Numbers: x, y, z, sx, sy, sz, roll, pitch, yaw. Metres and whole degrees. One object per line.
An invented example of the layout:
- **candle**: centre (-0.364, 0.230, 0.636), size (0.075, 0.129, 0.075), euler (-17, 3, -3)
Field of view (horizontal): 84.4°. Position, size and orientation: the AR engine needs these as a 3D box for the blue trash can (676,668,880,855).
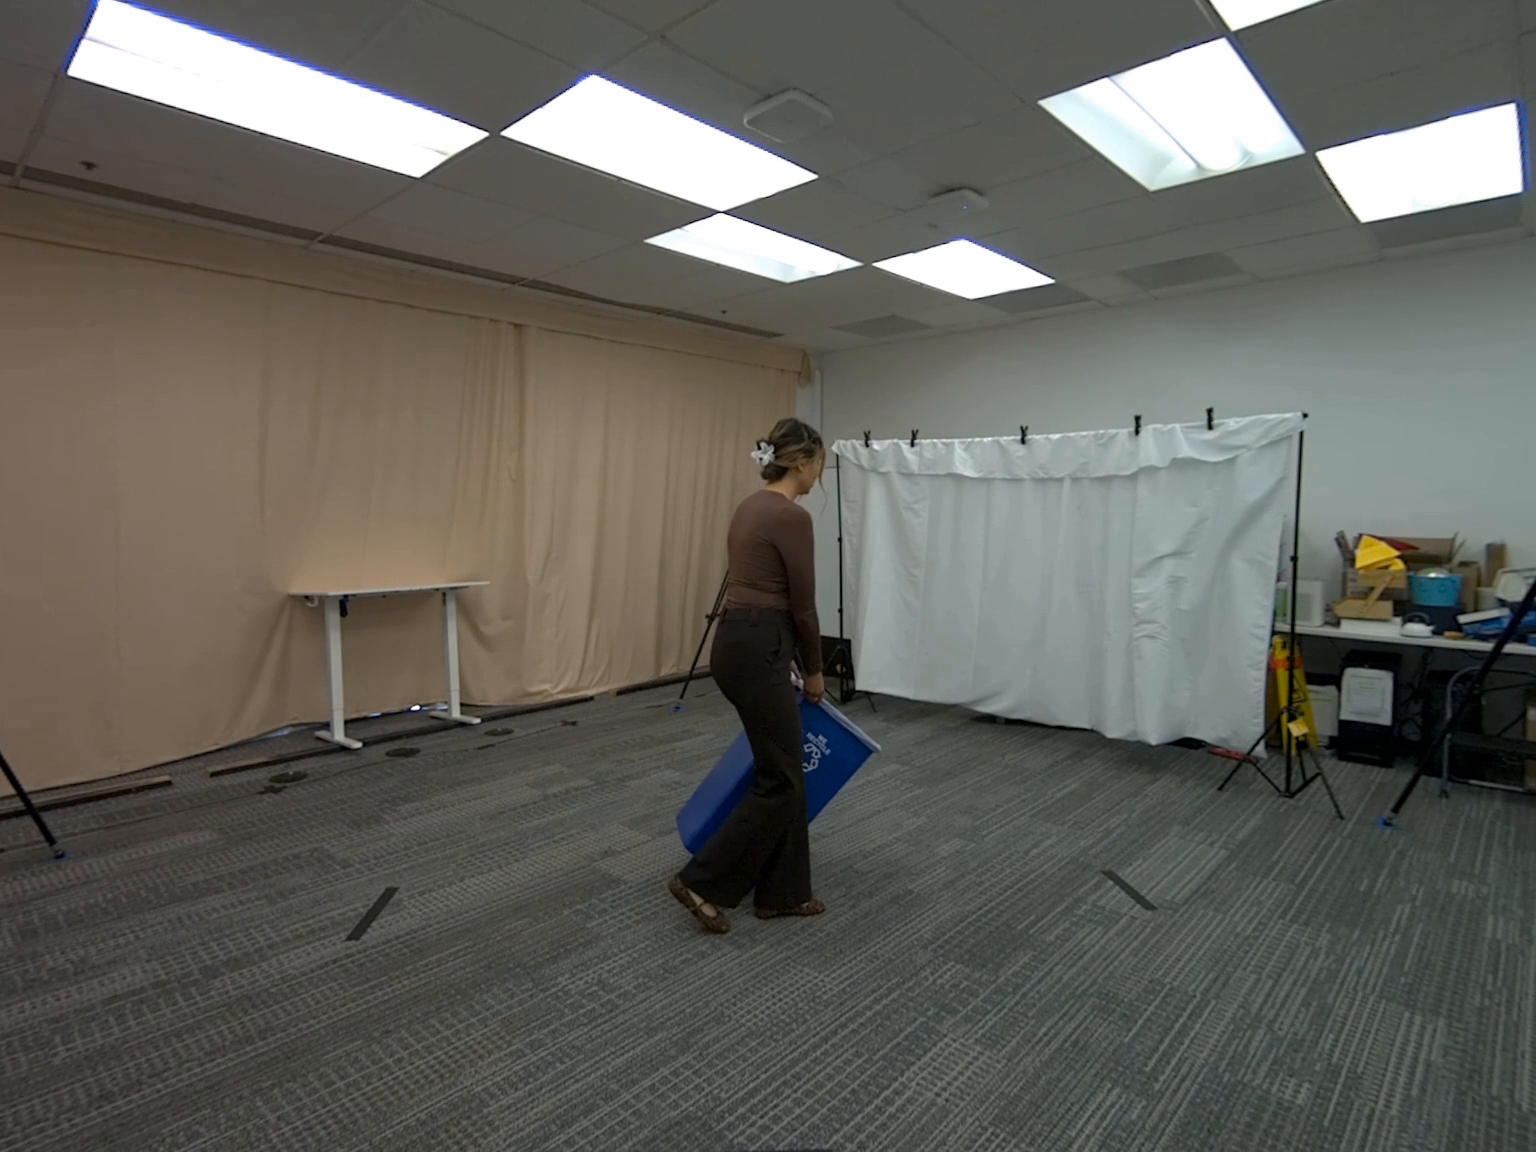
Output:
- **blue trash can**: centre (0.020, 0.767, 3.133), size (0.373, 0.713, 0.379), euler (40, -4, -11)
